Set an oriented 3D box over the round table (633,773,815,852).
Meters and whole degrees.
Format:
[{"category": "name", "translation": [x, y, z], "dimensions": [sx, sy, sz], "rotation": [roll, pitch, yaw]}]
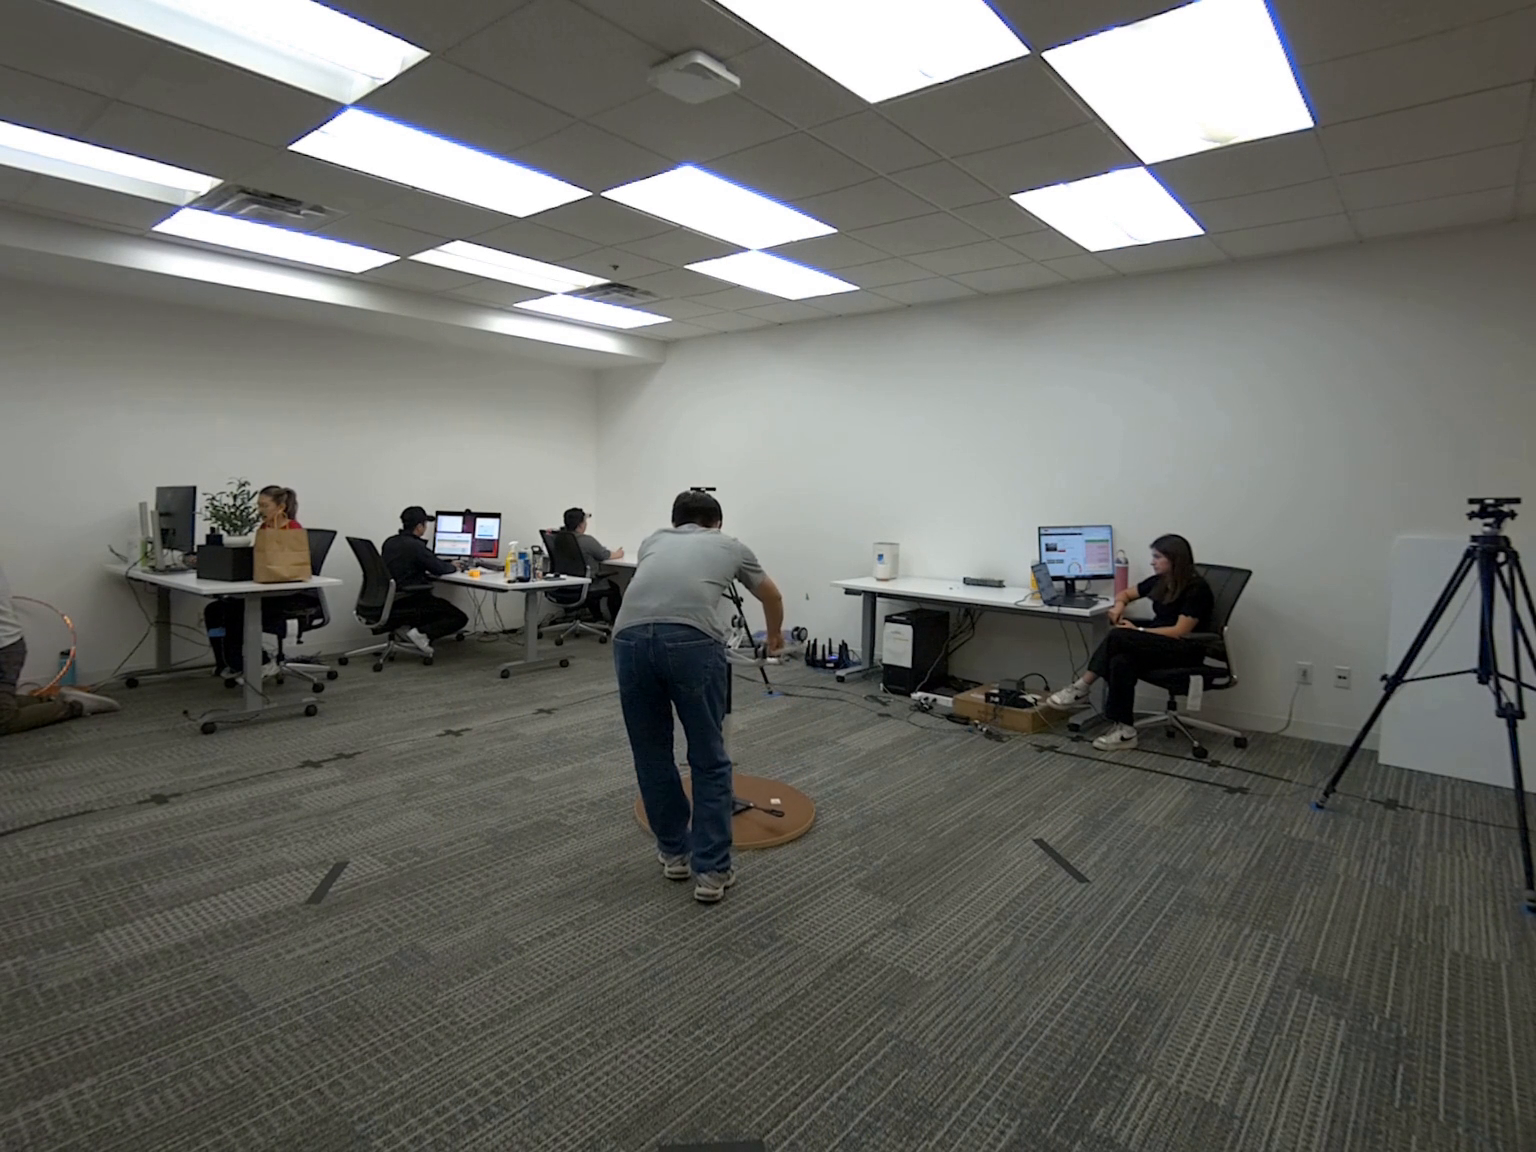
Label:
[{"category": "round table", "translation": [-0.180, 0.612, 3.606], "dimensions": [0.763, 0.790, 0.769], "rotation": [0, 5, -2]}]
